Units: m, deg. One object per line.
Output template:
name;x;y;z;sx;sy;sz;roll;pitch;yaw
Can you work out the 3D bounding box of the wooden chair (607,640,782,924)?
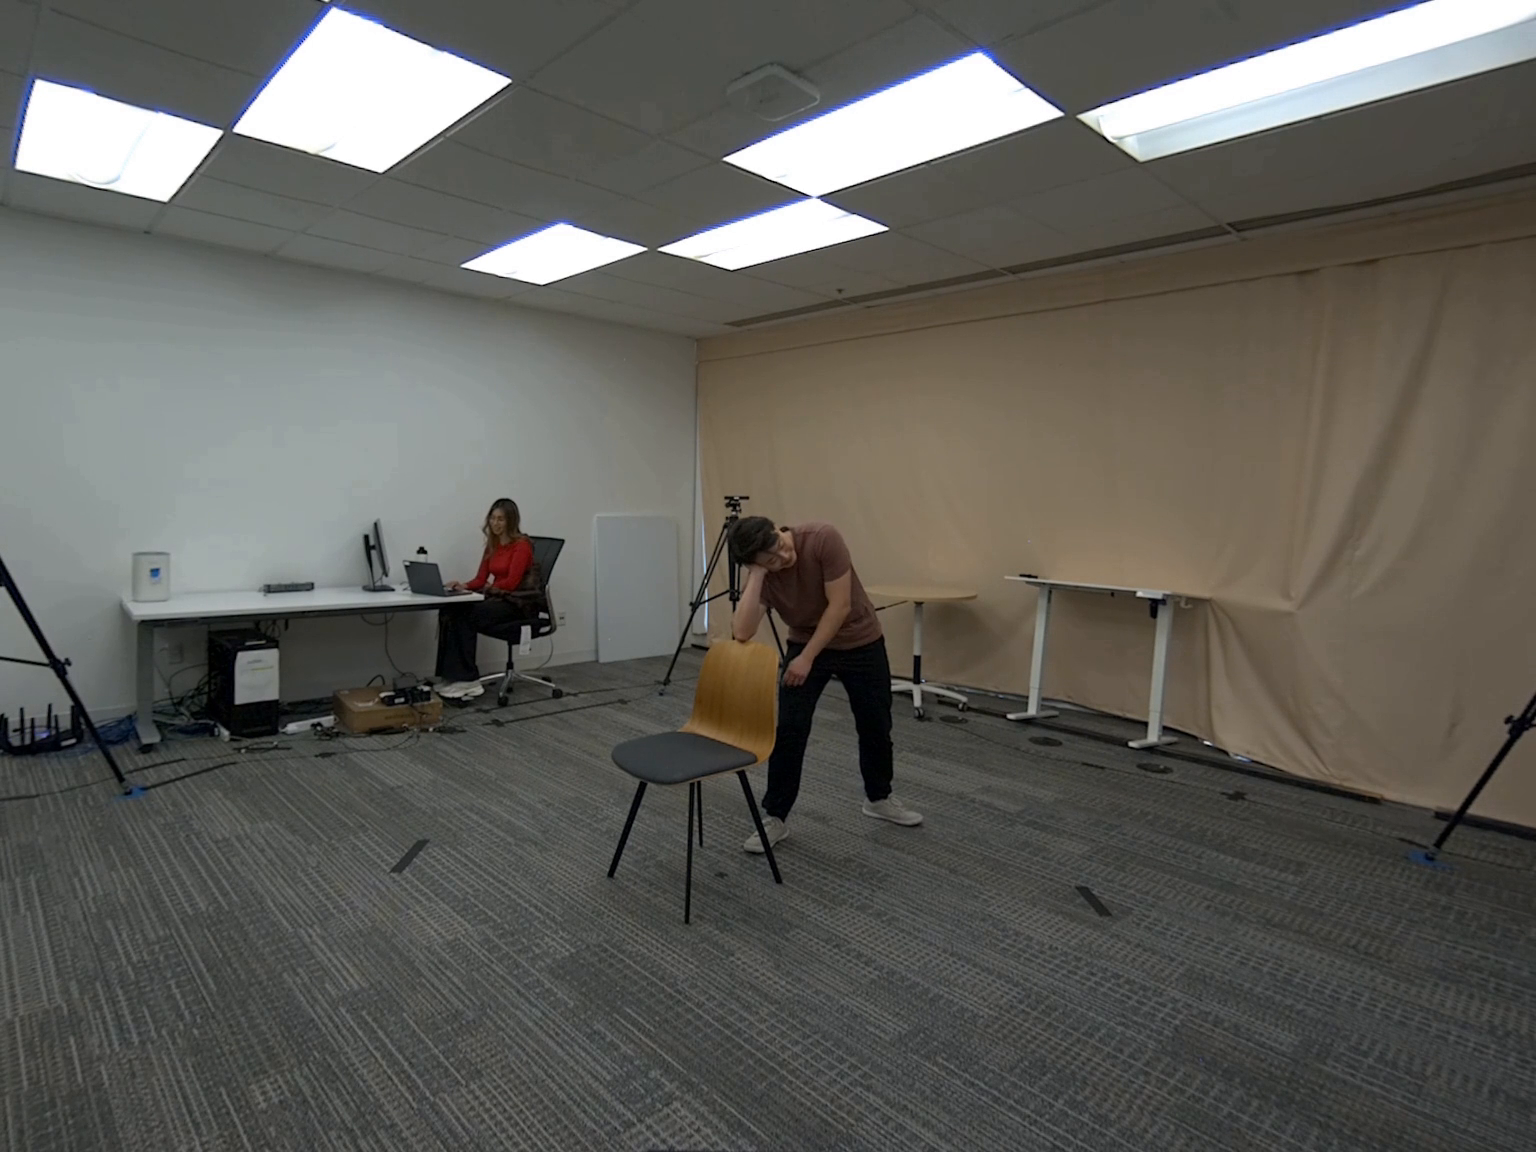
wooden chair;-0.265;0.682;3.015;0.510;0.877;0.490;4;1;-44
